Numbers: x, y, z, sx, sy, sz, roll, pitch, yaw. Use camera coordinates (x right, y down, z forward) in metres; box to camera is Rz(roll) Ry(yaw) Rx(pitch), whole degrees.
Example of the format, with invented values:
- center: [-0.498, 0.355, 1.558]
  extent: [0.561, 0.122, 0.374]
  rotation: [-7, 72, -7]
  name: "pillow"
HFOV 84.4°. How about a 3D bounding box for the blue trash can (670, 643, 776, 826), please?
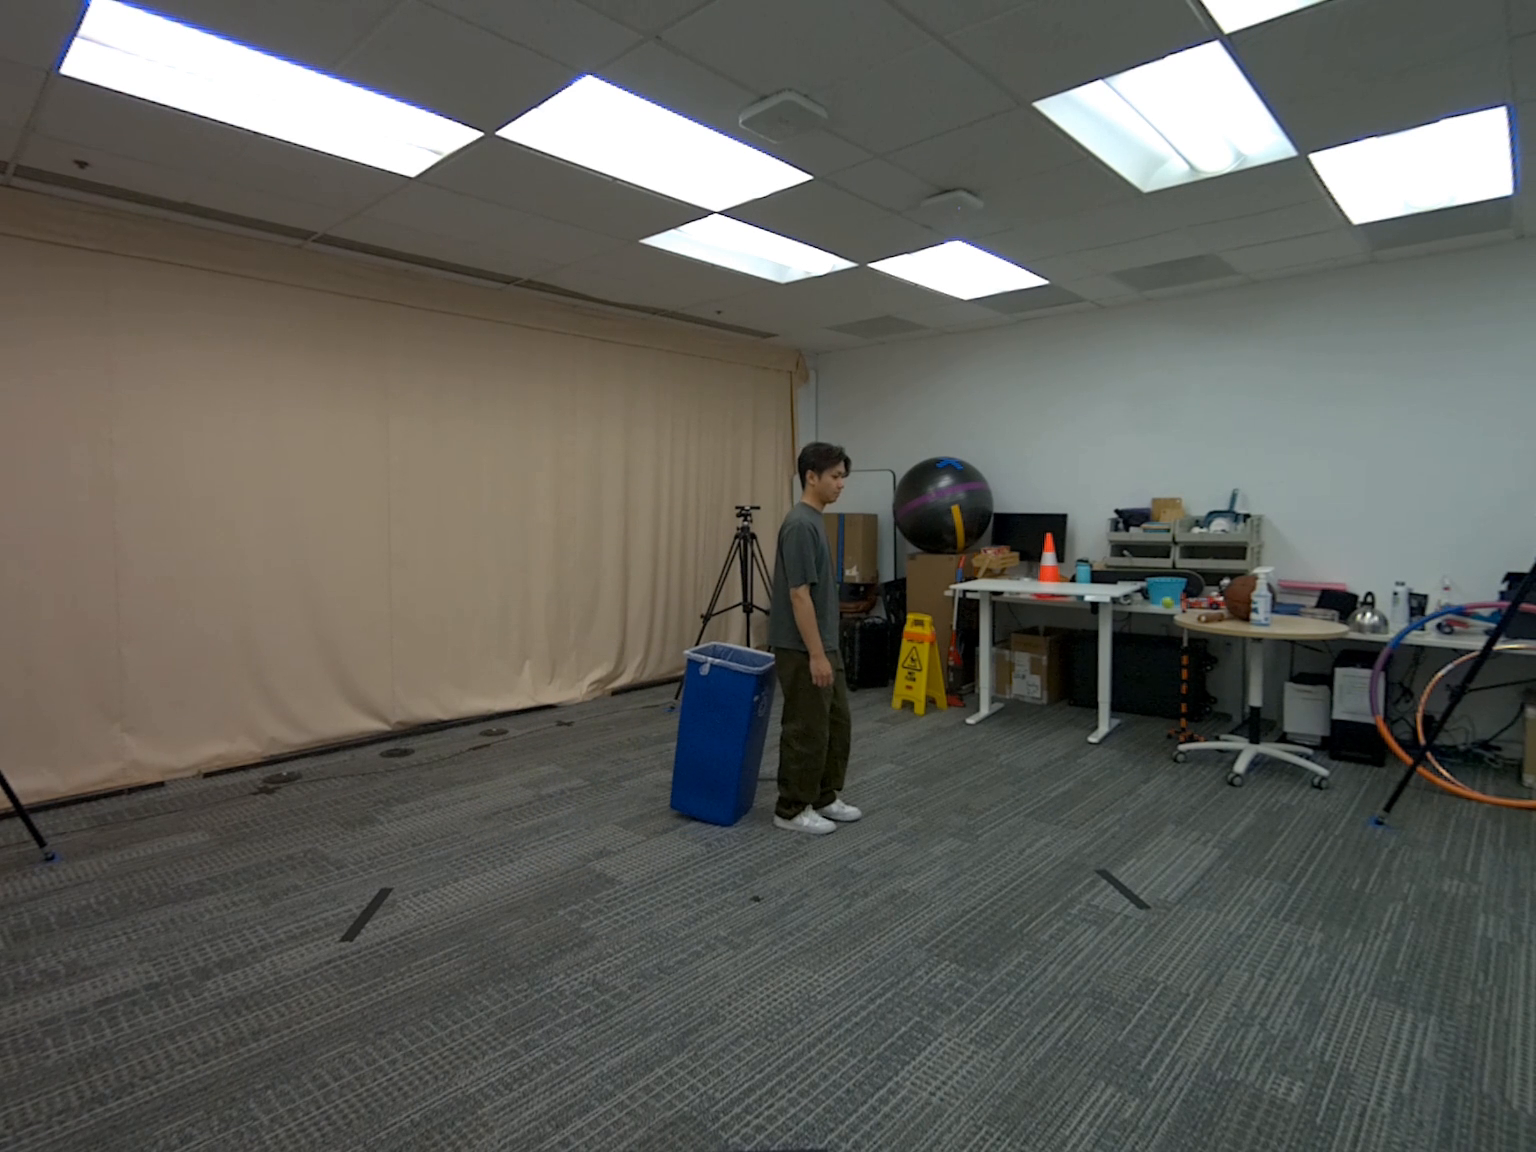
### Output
- center: [-0.201, 0.704, 3.812]
  extent: [0.387, 0.711, 0.367]
  rotation: [11, 6, 19]
  name: "blue trash can"
